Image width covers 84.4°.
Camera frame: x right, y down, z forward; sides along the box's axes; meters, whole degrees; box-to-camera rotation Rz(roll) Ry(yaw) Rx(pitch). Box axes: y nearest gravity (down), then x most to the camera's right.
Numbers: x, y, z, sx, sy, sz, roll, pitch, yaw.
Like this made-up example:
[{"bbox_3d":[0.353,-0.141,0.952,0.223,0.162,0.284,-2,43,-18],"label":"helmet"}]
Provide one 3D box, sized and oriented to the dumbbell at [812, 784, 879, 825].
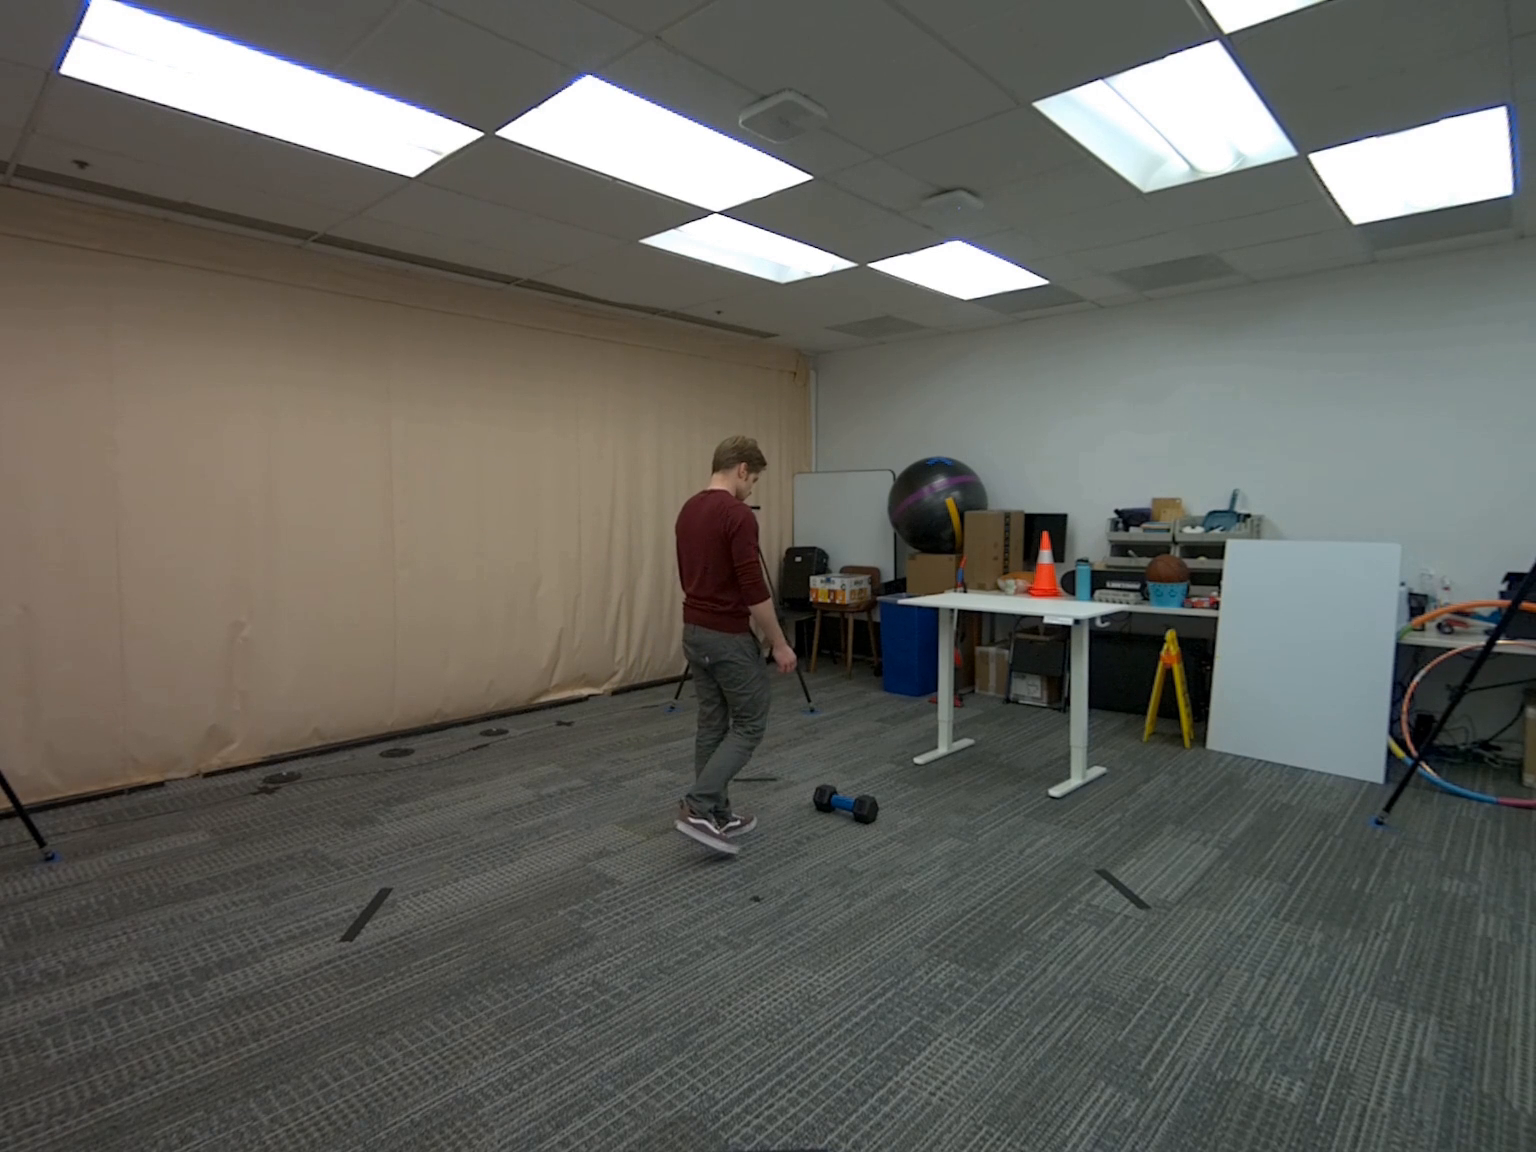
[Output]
[{"bbox_3d":[0.350,1.023,3.793,0.303,0.123,0.105,5,-27,39],"label":"dumbbell"}]
